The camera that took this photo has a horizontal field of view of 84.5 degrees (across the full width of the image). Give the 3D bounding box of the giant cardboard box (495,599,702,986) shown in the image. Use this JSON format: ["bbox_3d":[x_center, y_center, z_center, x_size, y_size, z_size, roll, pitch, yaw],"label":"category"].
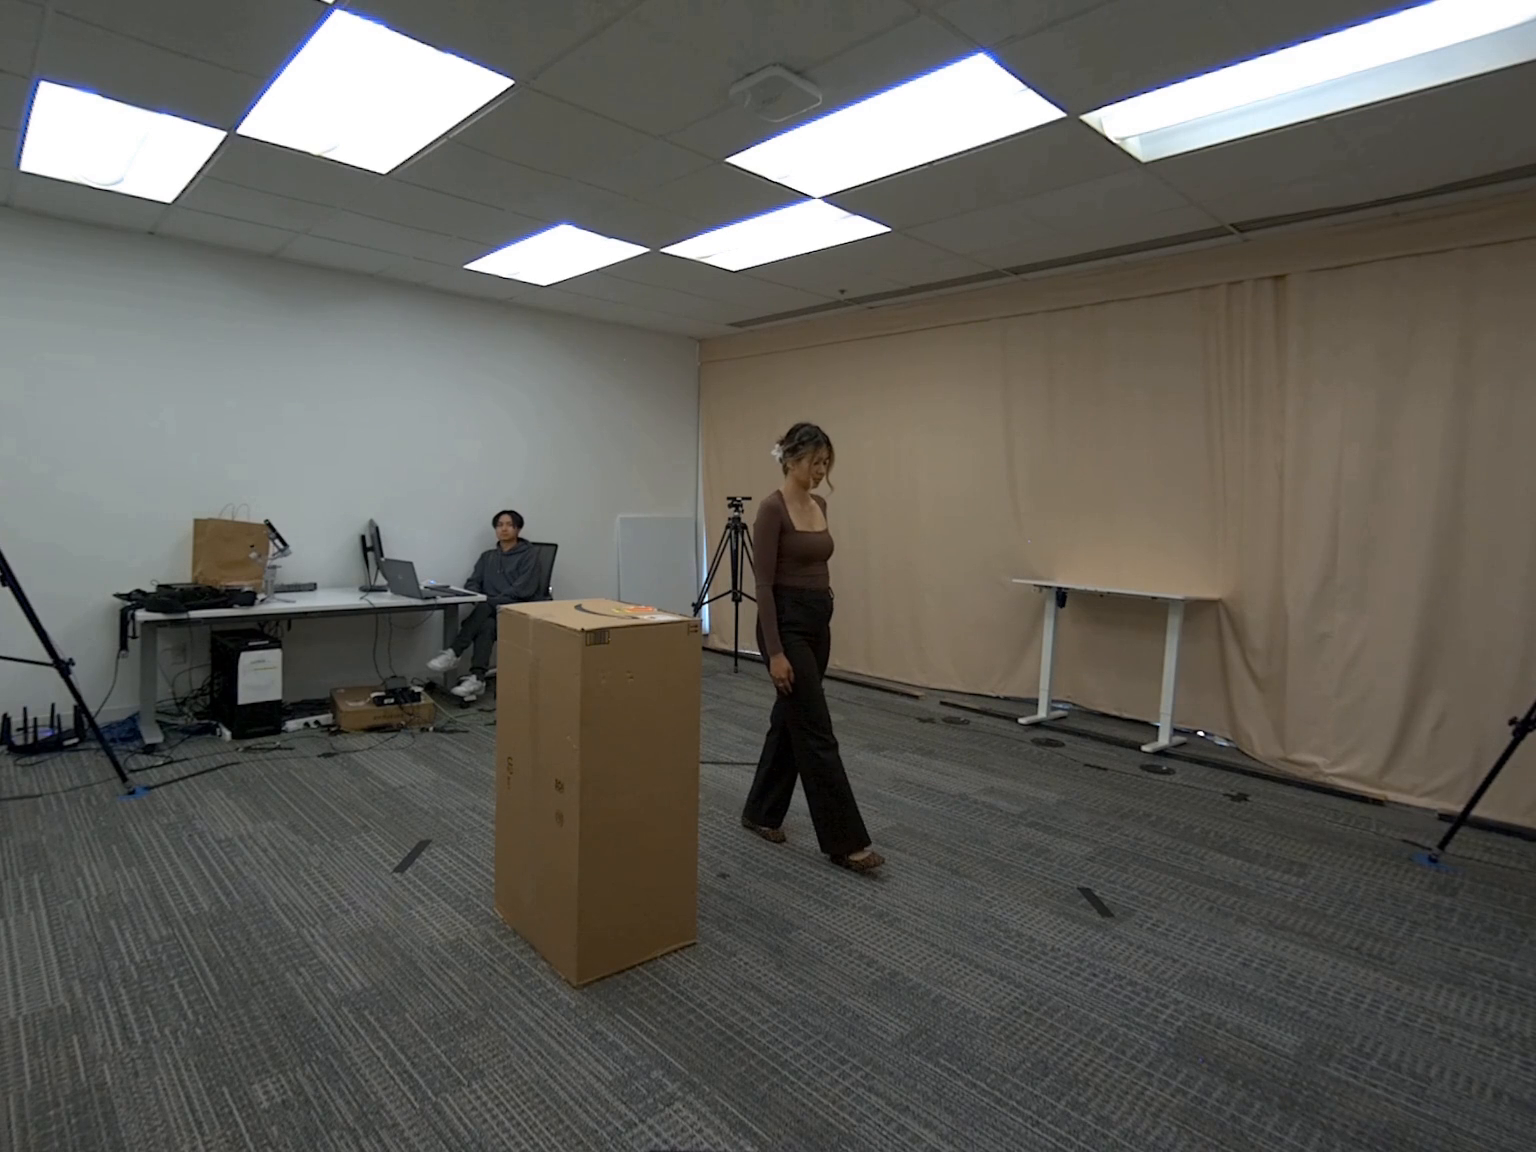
[{"bbox_3d":[-0.562,0.624,2.694,0.436,1.025,0.598,0,3,-38],"label":"giant cardboard box"}]
